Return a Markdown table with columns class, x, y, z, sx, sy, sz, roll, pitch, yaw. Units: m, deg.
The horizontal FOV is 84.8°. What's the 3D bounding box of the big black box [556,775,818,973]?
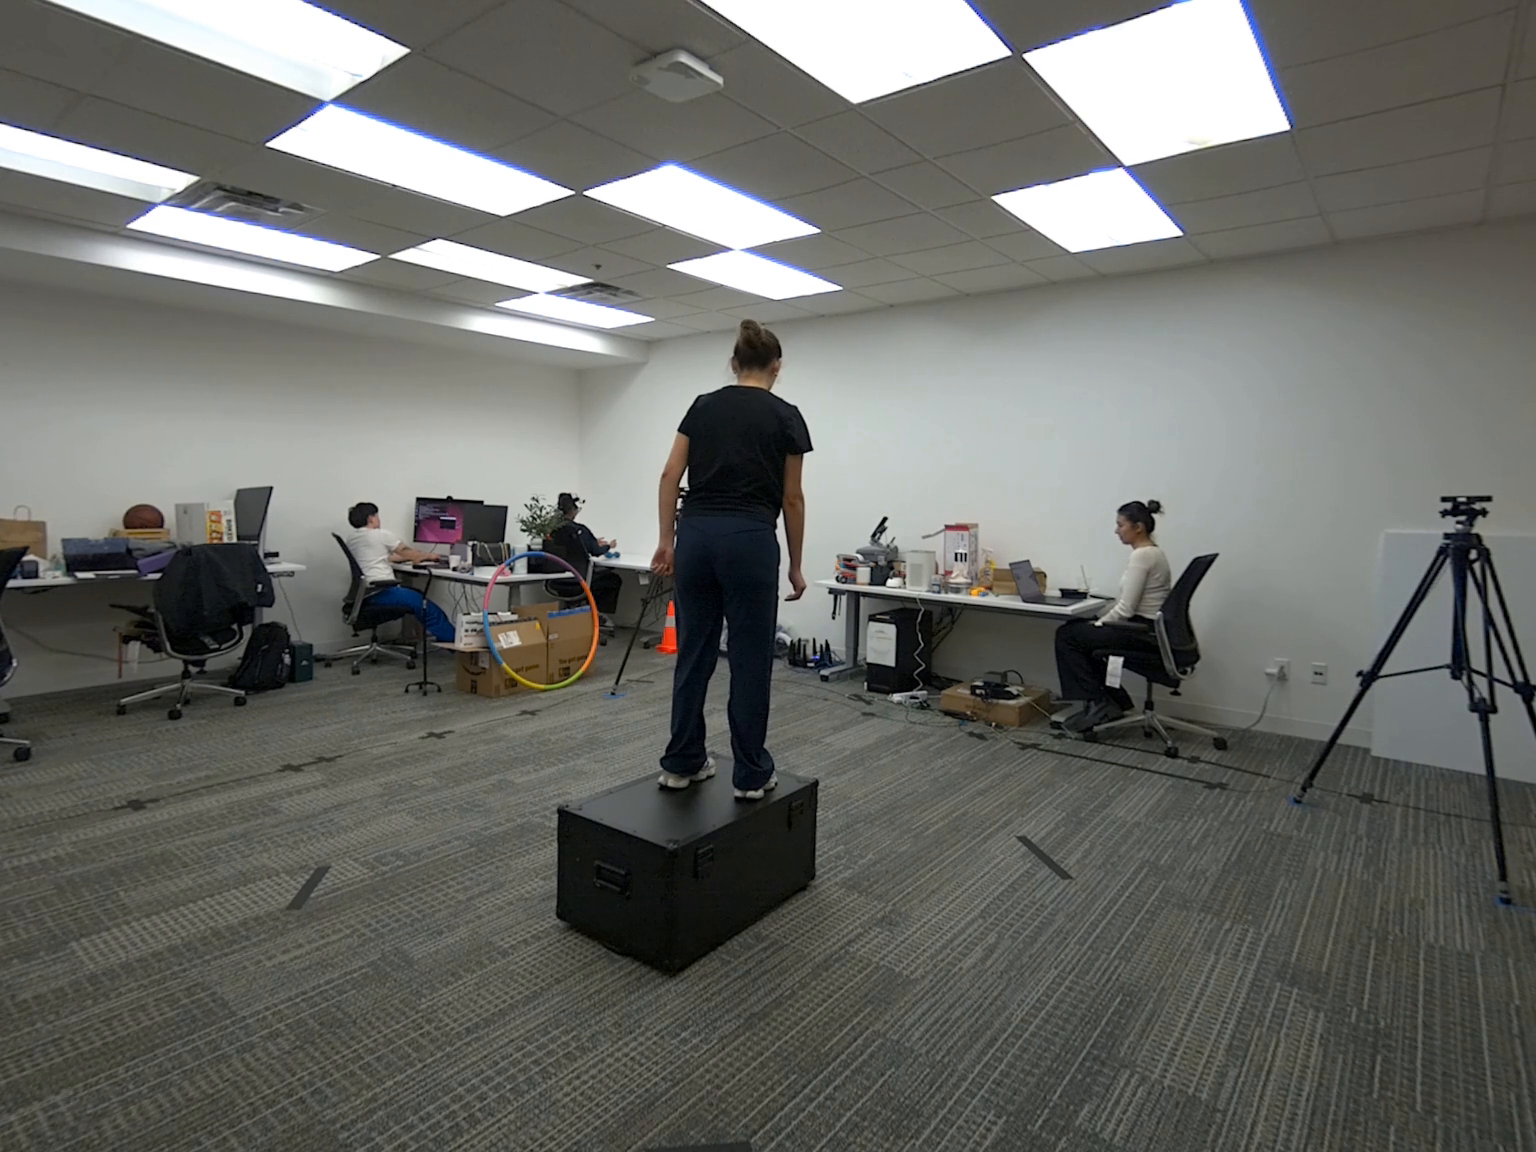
| class | x | y | z | sx | sy | sz | roll | pitch | yaw |
| --- | --- | --- | --- | --- | --- | --- | --- | --- | --- |
| big black box | -0.215 | 0.900 | 2.866 | 0.538 | 0.395 | 0.837 | 5 | 7 | 36 |
